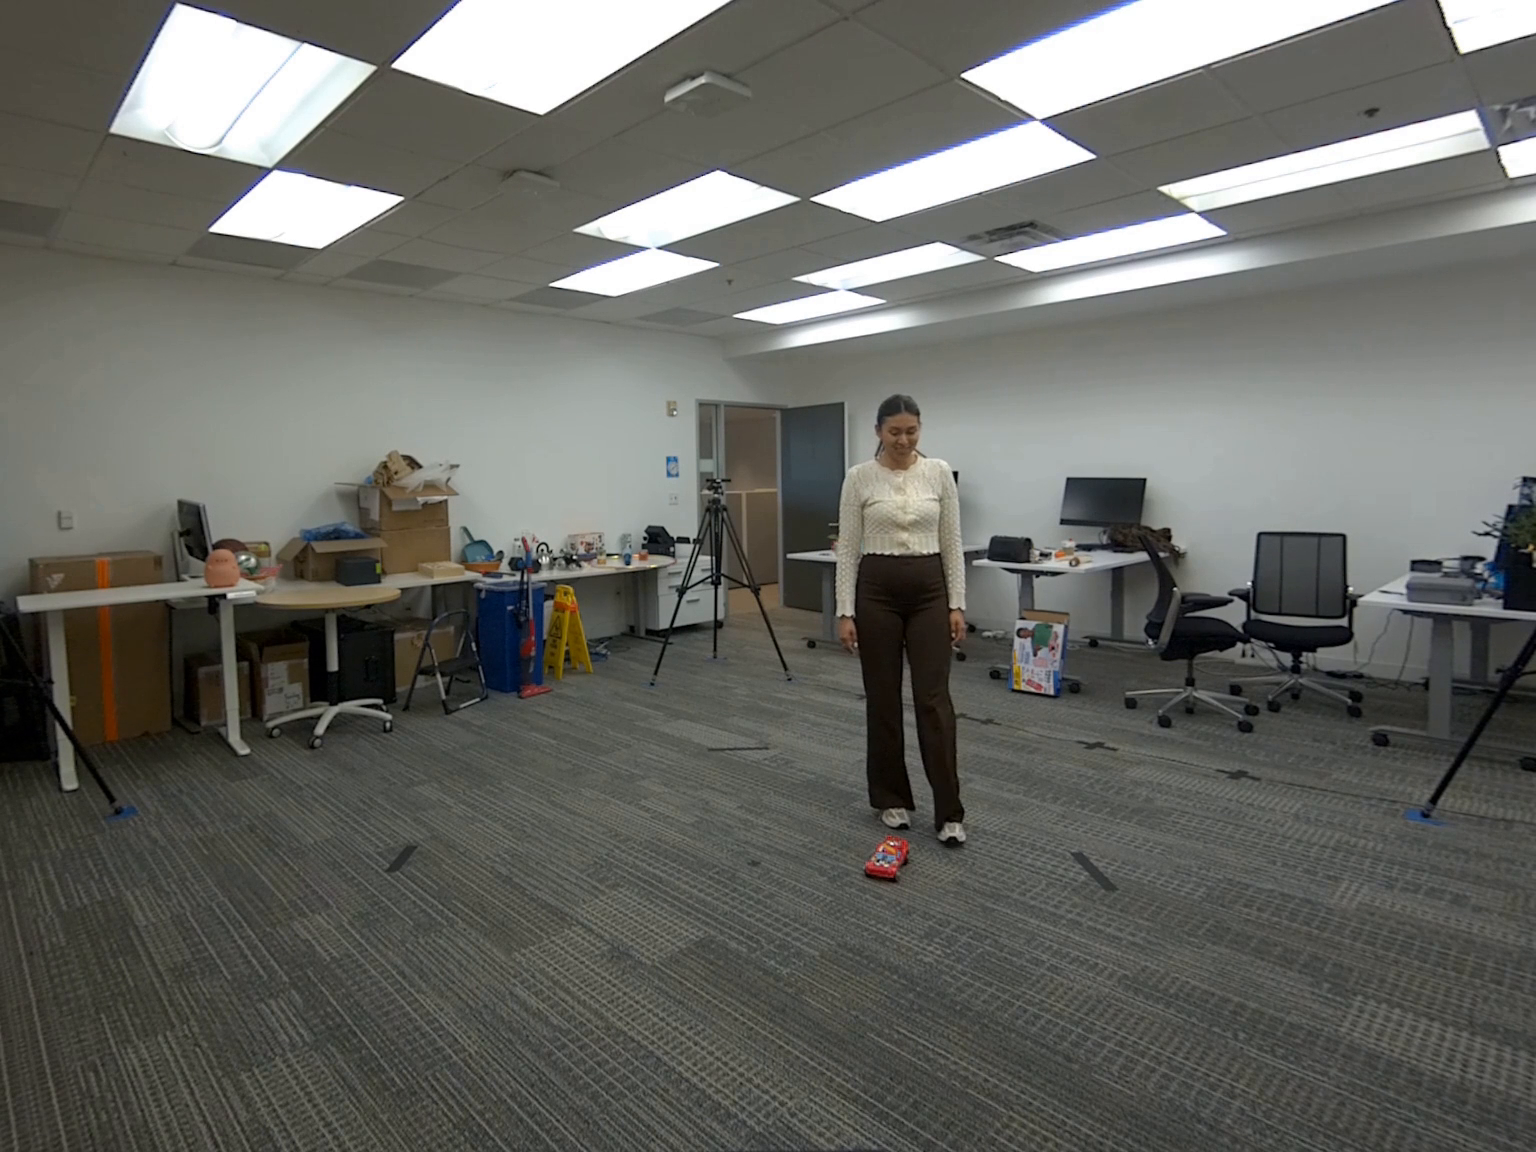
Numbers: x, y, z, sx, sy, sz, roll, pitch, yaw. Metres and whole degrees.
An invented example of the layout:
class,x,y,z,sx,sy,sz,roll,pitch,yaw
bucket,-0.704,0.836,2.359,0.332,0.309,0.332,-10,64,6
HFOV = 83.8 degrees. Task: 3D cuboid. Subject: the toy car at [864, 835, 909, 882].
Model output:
class,x,y,z,sx,sy,sz,roll,pitch,yaw
toy car,0.435,1.008,3.055,0.133,0.082,0.252,1,18,24
